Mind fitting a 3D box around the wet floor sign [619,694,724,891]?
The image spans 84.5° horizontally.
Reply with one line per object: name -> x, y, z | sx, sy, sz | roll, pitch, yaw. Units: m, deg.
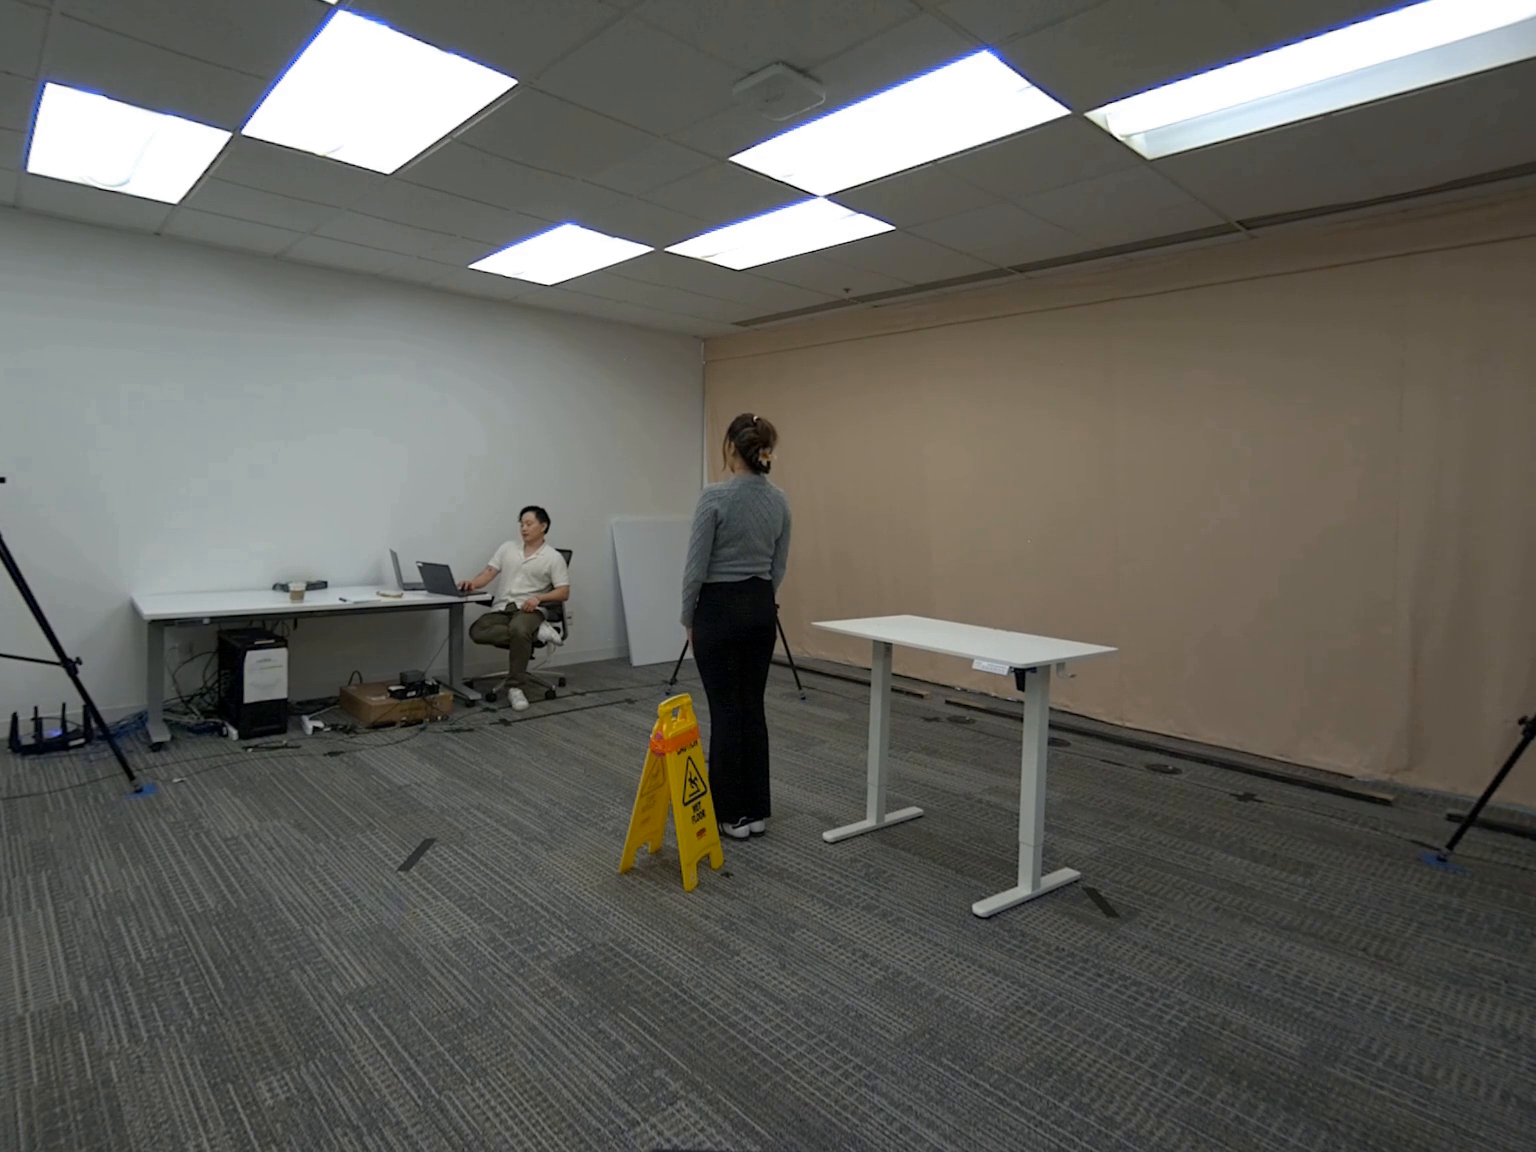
wet floor sign -> -0.361, 0.771, 3.126 | 0.295, 0.645, 0.277 | 2, 2, 26
